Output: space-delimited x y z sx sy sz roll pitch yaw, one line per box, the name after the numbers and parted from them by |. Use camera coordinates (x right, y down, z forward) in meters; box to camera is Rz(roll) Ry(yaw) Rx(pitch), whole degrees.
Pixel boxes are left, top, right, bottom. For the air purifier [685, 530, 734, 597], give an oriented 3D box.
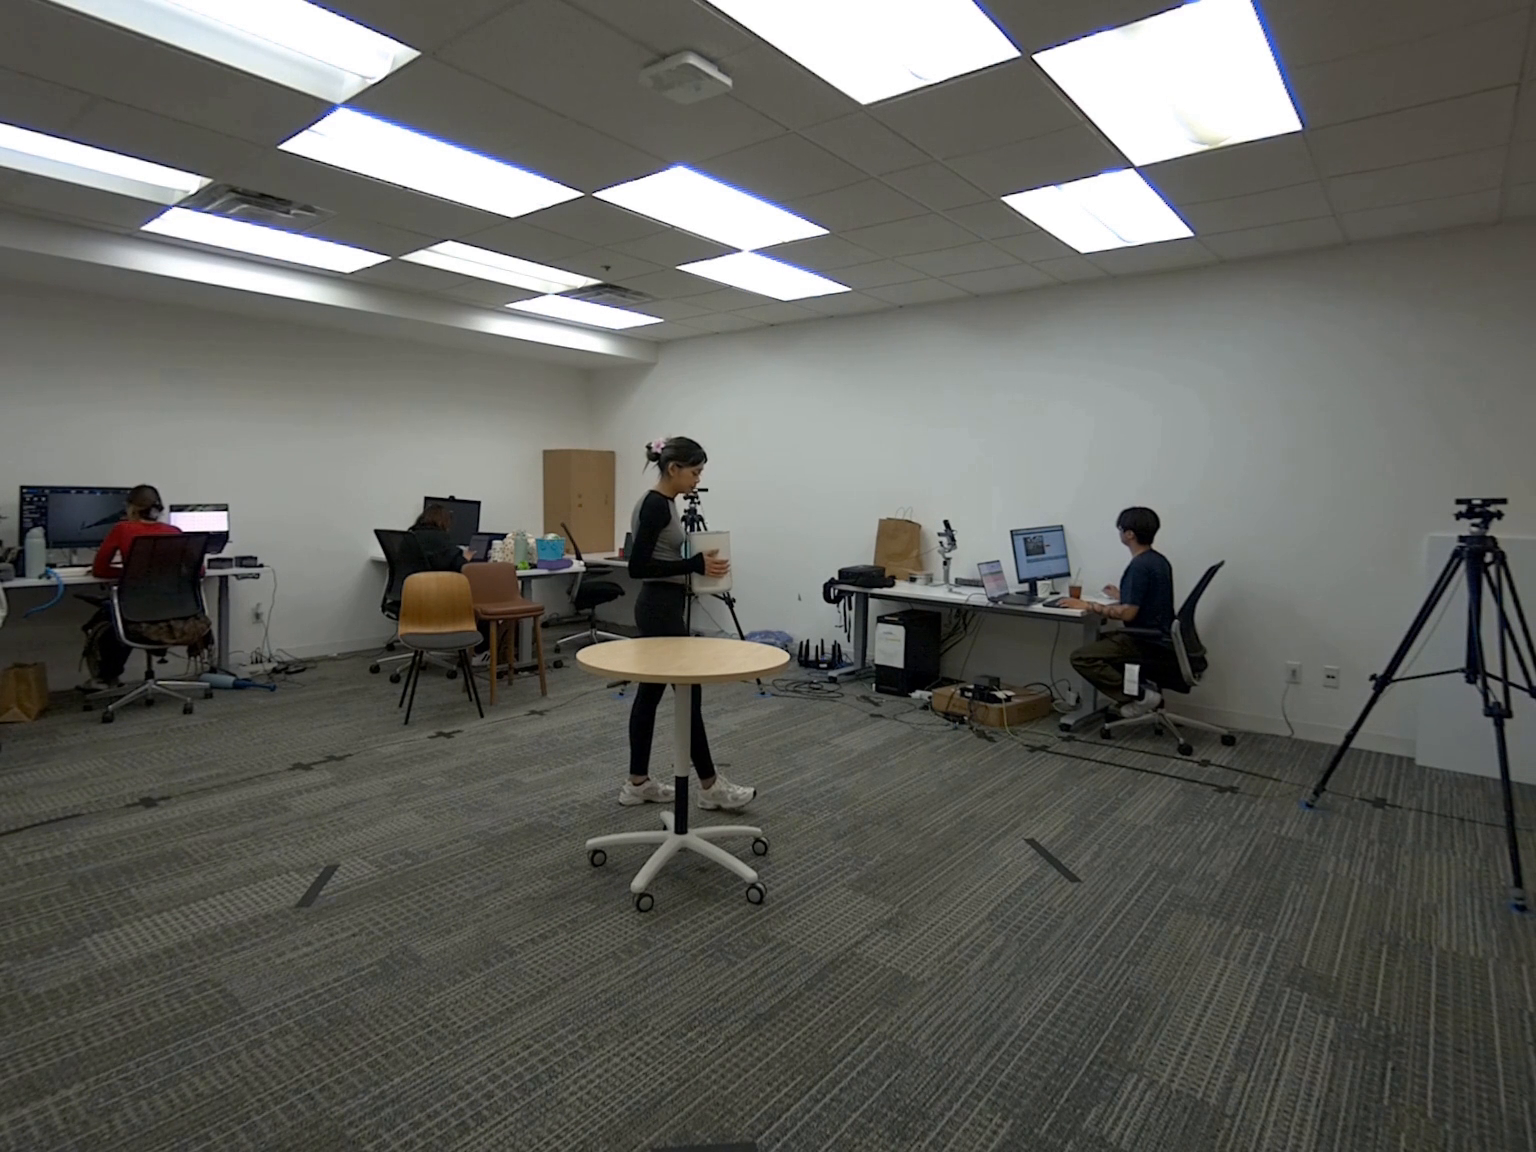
-0.257 -0.059 3.679 0.173 0.264 0.170 -2 4 8 | air purifier
